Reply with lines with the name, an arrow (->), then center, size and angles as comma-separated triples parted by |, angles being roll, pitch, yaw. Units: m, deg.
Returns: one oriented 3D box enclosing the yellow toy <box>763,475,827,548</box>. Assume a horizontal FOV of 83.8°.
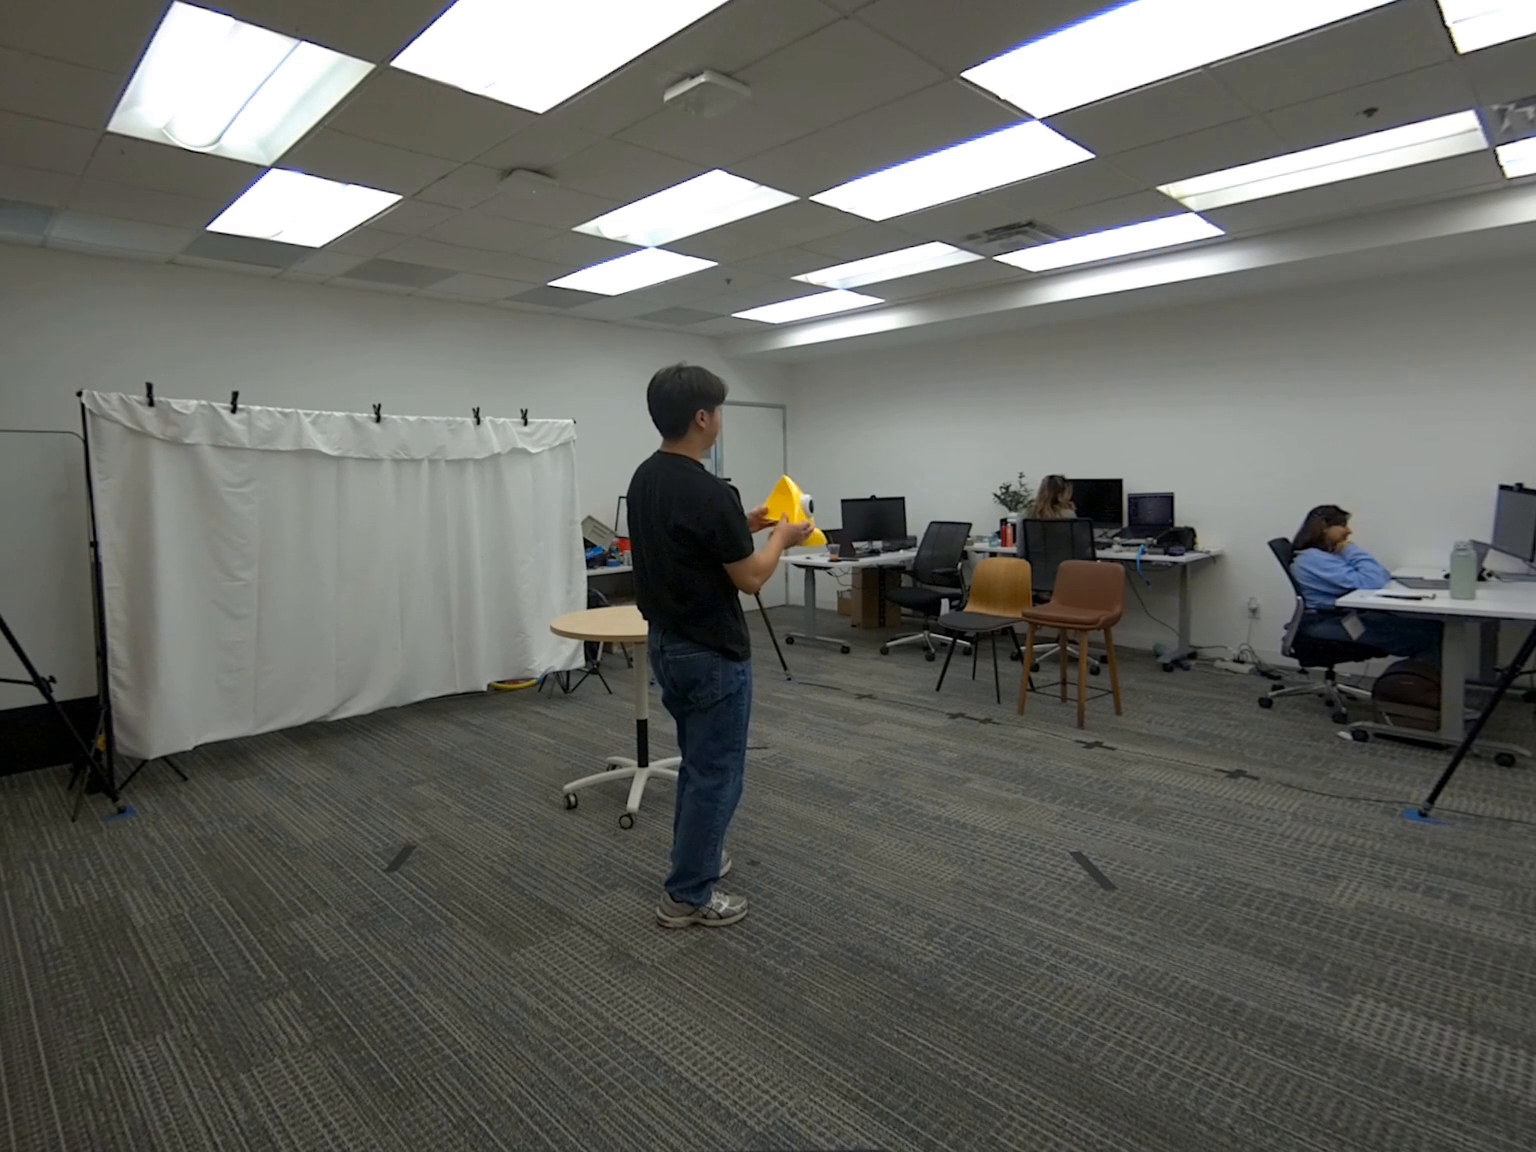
yellow toy -> 0.093, -0.230, 2.901 | 0.188, 0.229, 0.211 | -7, 11, -37
